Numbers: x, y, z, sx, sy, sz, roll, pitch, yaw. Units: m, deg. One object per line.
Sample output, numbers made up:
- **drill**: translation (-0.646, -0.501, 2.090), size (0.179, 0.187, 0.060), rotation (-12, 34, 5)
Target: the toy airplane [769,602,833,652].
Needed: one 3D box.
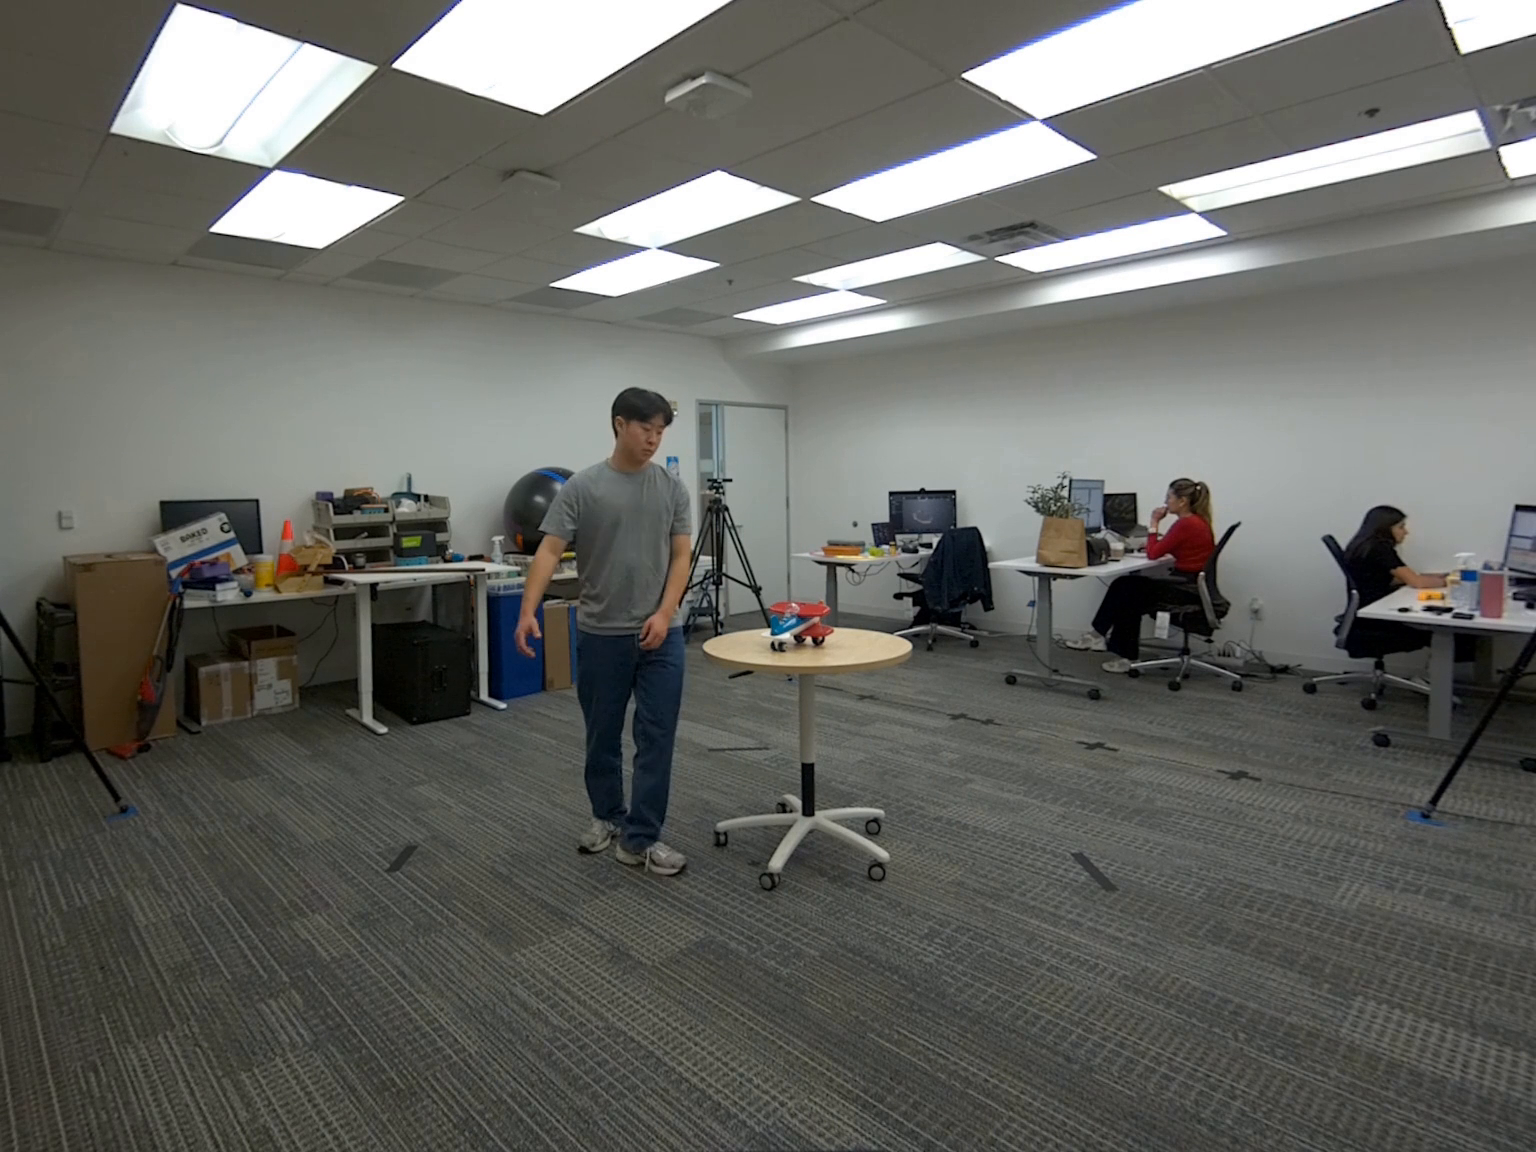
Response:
- **toy airplane**: translation (0.110, 0.182, 3.087), size (0.254, 0.156, 0.256), rotation (-1, 3, 13)
